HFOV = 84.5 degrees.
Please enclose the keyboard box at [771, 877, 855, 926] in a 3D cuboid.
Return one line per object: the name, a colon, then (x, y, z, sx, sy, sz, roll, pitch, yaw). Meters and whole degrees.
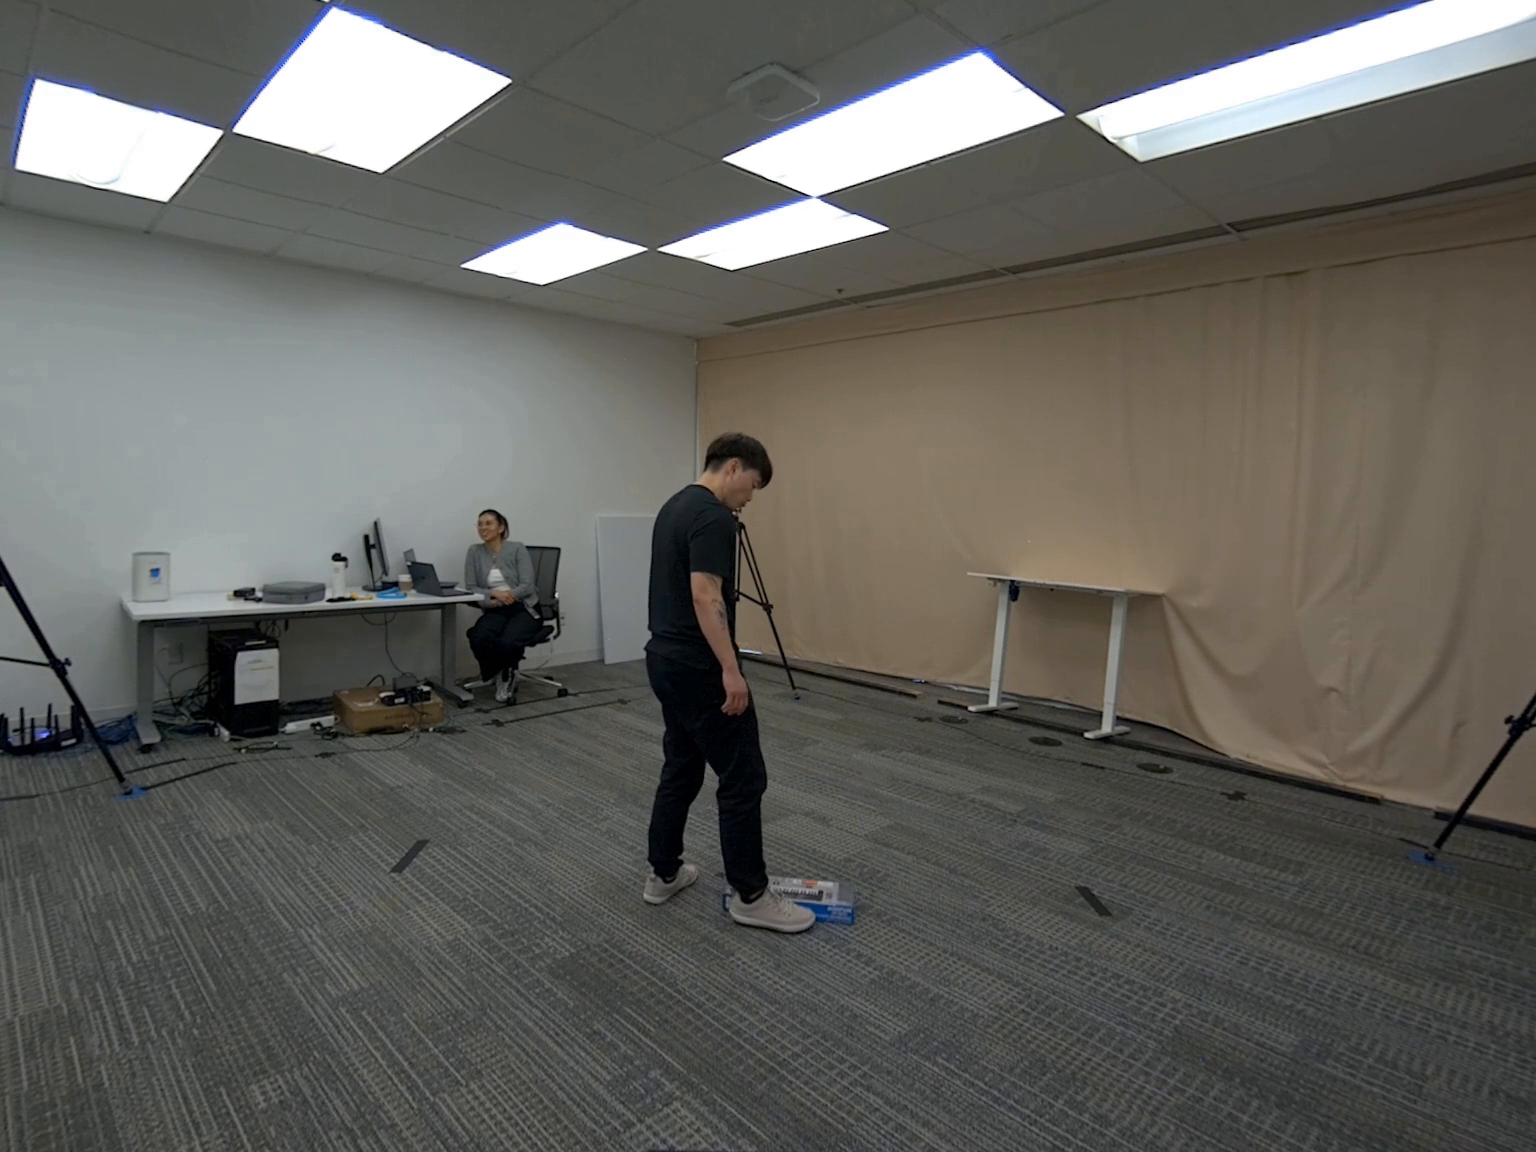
keyboard box: (0.063, 1.099, 2.885, 0.441, 0.059, 0.175, 2, 5, 11)
